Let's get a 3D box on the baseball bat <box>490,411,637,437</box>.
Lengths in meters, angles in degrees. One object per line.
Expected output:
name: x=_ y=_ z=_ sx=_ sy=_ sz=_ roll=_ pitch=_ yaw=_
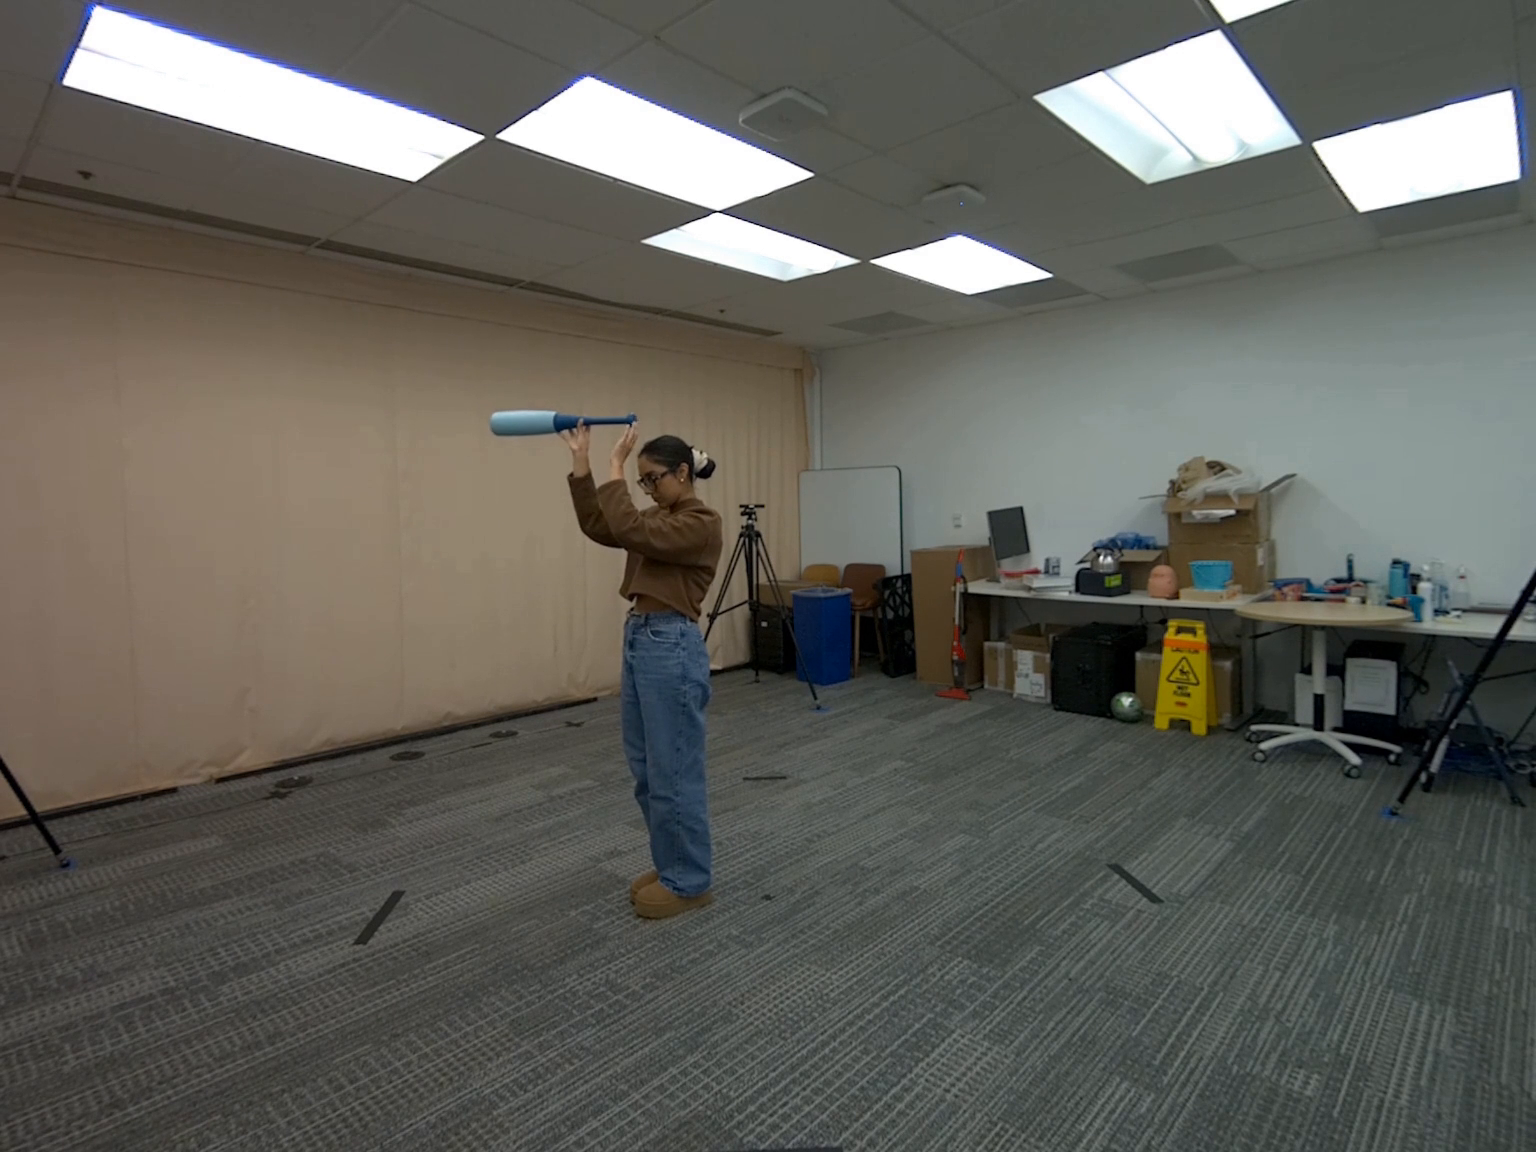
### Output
baseball bat: x=-0.710 y=-0.533 z=2.910 sx=0.553 sy=0.089 sz=0.088 roll=1 pitch=4 yaw=17
